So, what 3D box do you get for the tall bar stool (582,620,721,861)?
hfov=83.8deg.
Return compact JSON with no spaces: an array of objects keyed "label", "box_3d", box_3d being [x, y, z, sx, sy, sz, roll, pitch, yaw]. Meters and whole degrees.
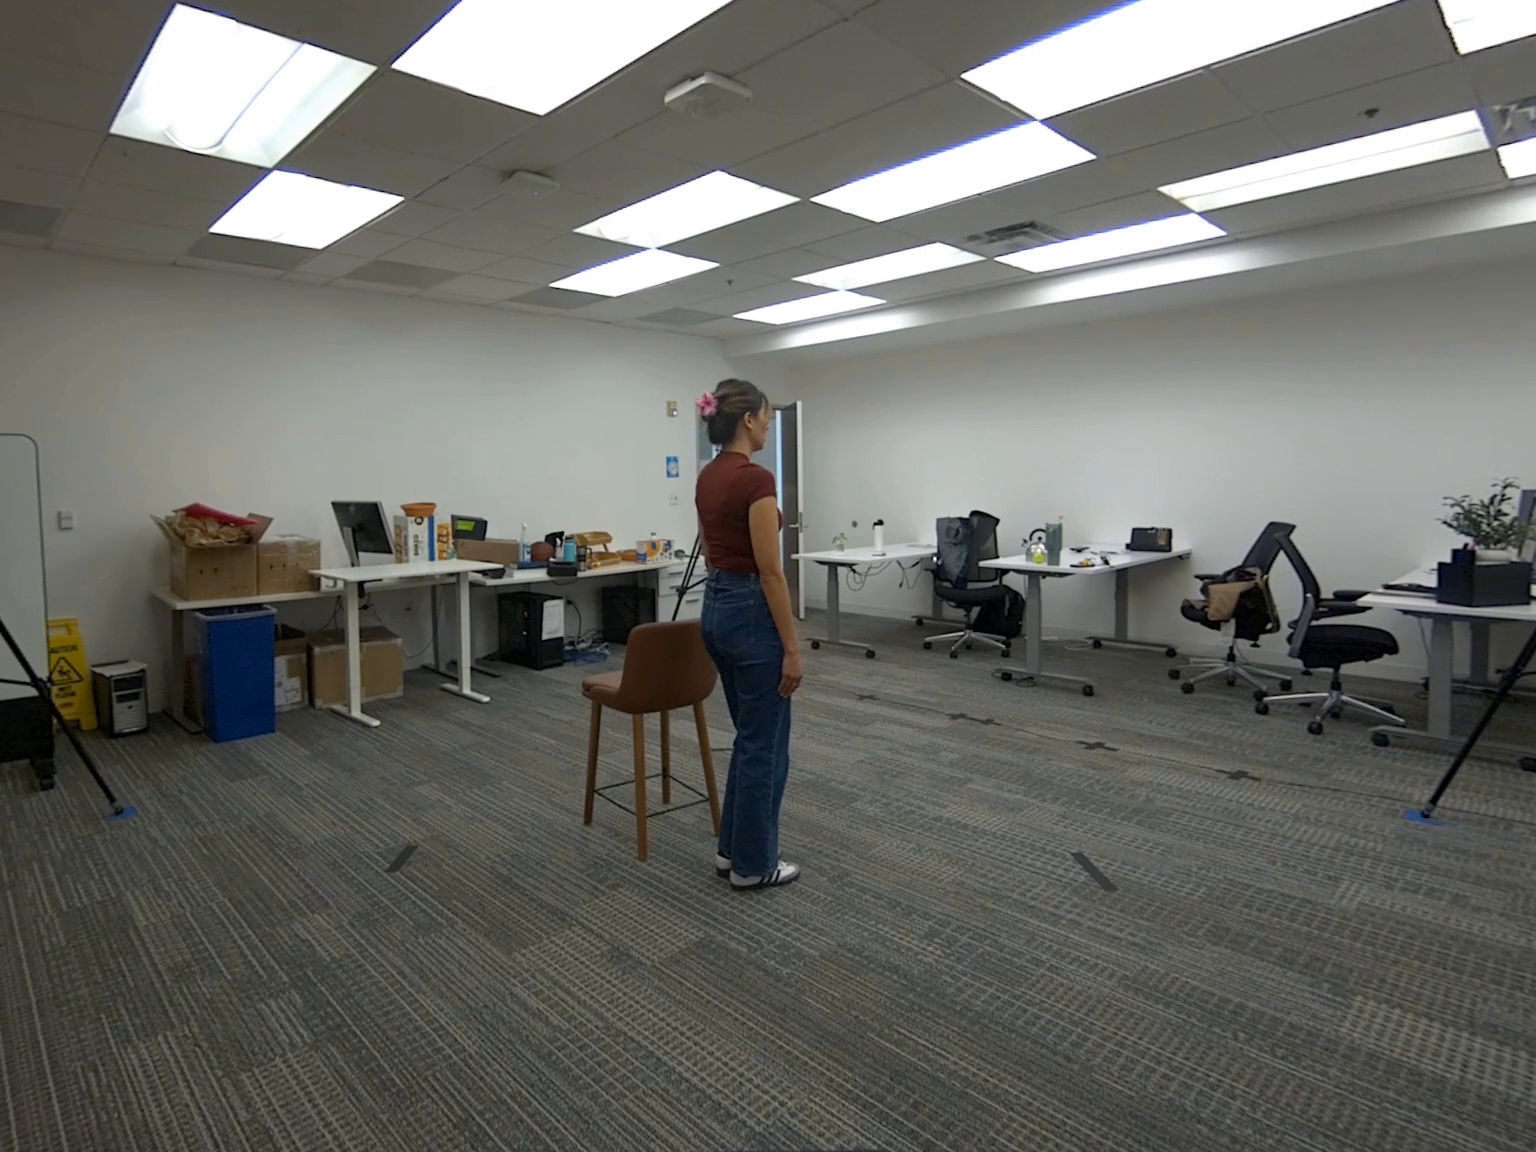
[{"label":"tall bar stool","box_3d":[-0.463,0.583,3.401,0.445,0.885,0.482,-4,7,-36]}]
